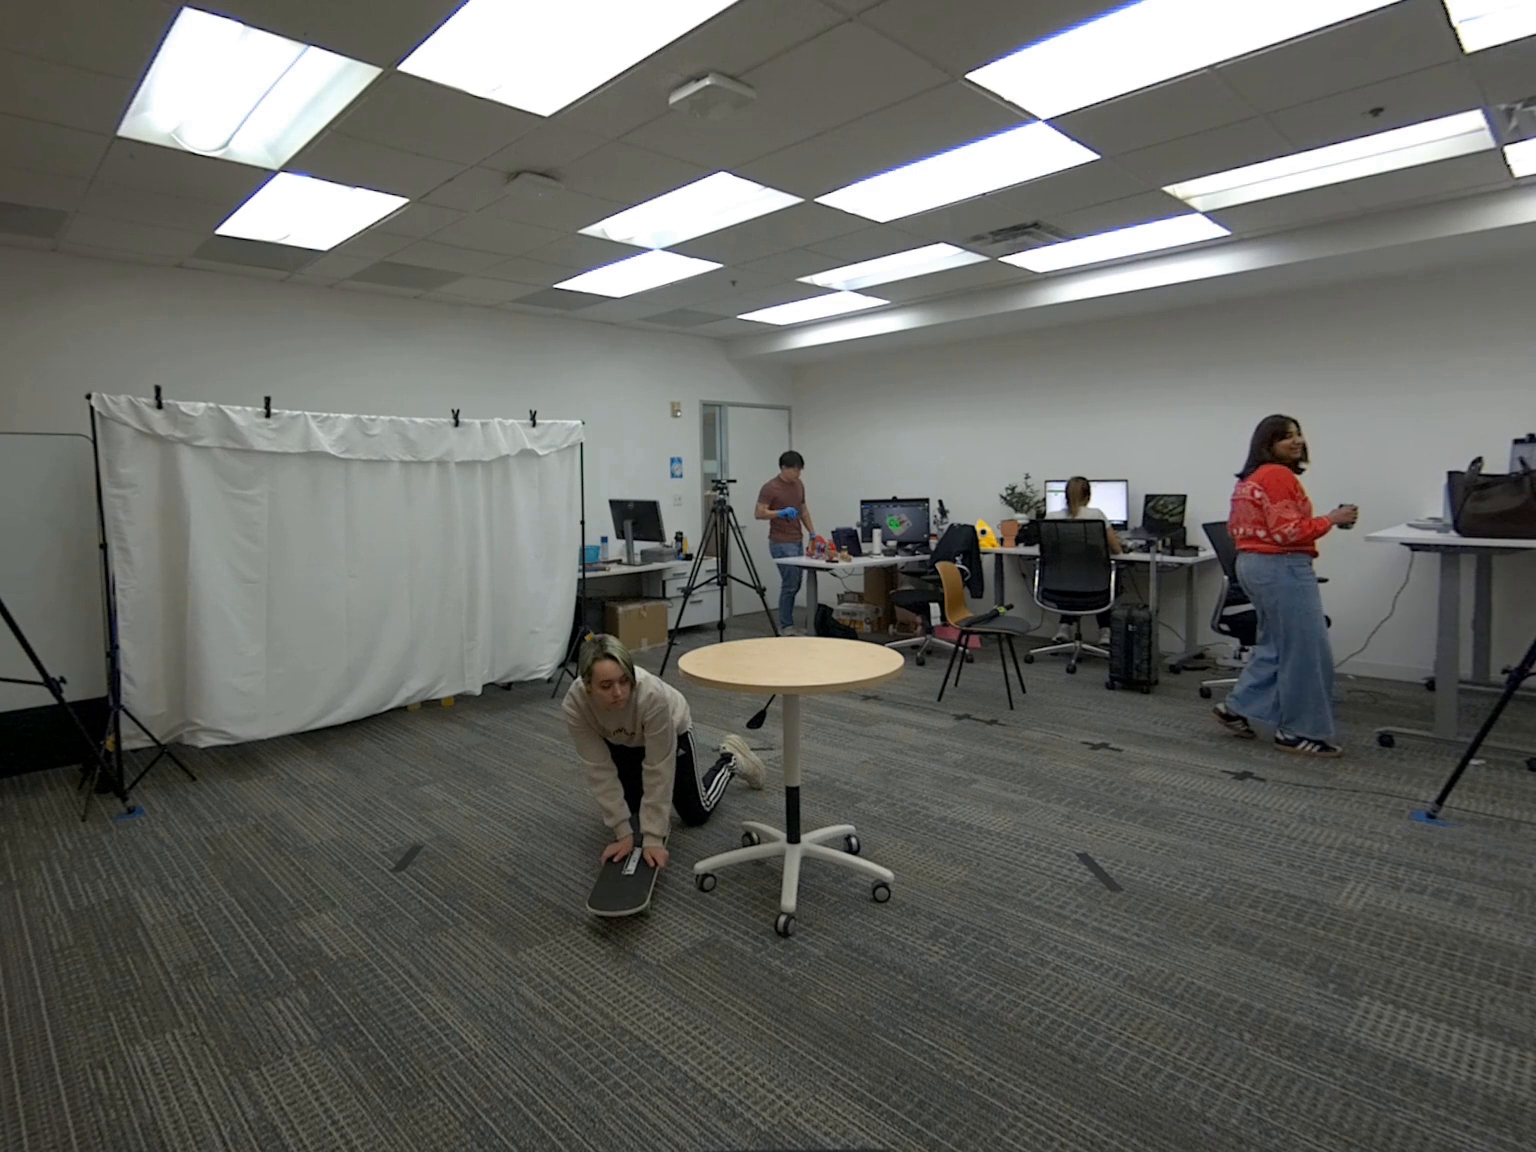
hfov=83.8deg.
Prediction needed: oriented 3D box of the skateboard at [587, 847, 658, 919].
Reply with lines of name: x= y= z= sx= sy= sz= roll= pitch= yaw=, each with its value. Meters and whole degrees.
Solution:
skateboard: x=-0.466 y=1.021 z=2.958 sx=0.194 sy=0.110 sz=0.787 roll=-2 pitch=7 yaw=1
